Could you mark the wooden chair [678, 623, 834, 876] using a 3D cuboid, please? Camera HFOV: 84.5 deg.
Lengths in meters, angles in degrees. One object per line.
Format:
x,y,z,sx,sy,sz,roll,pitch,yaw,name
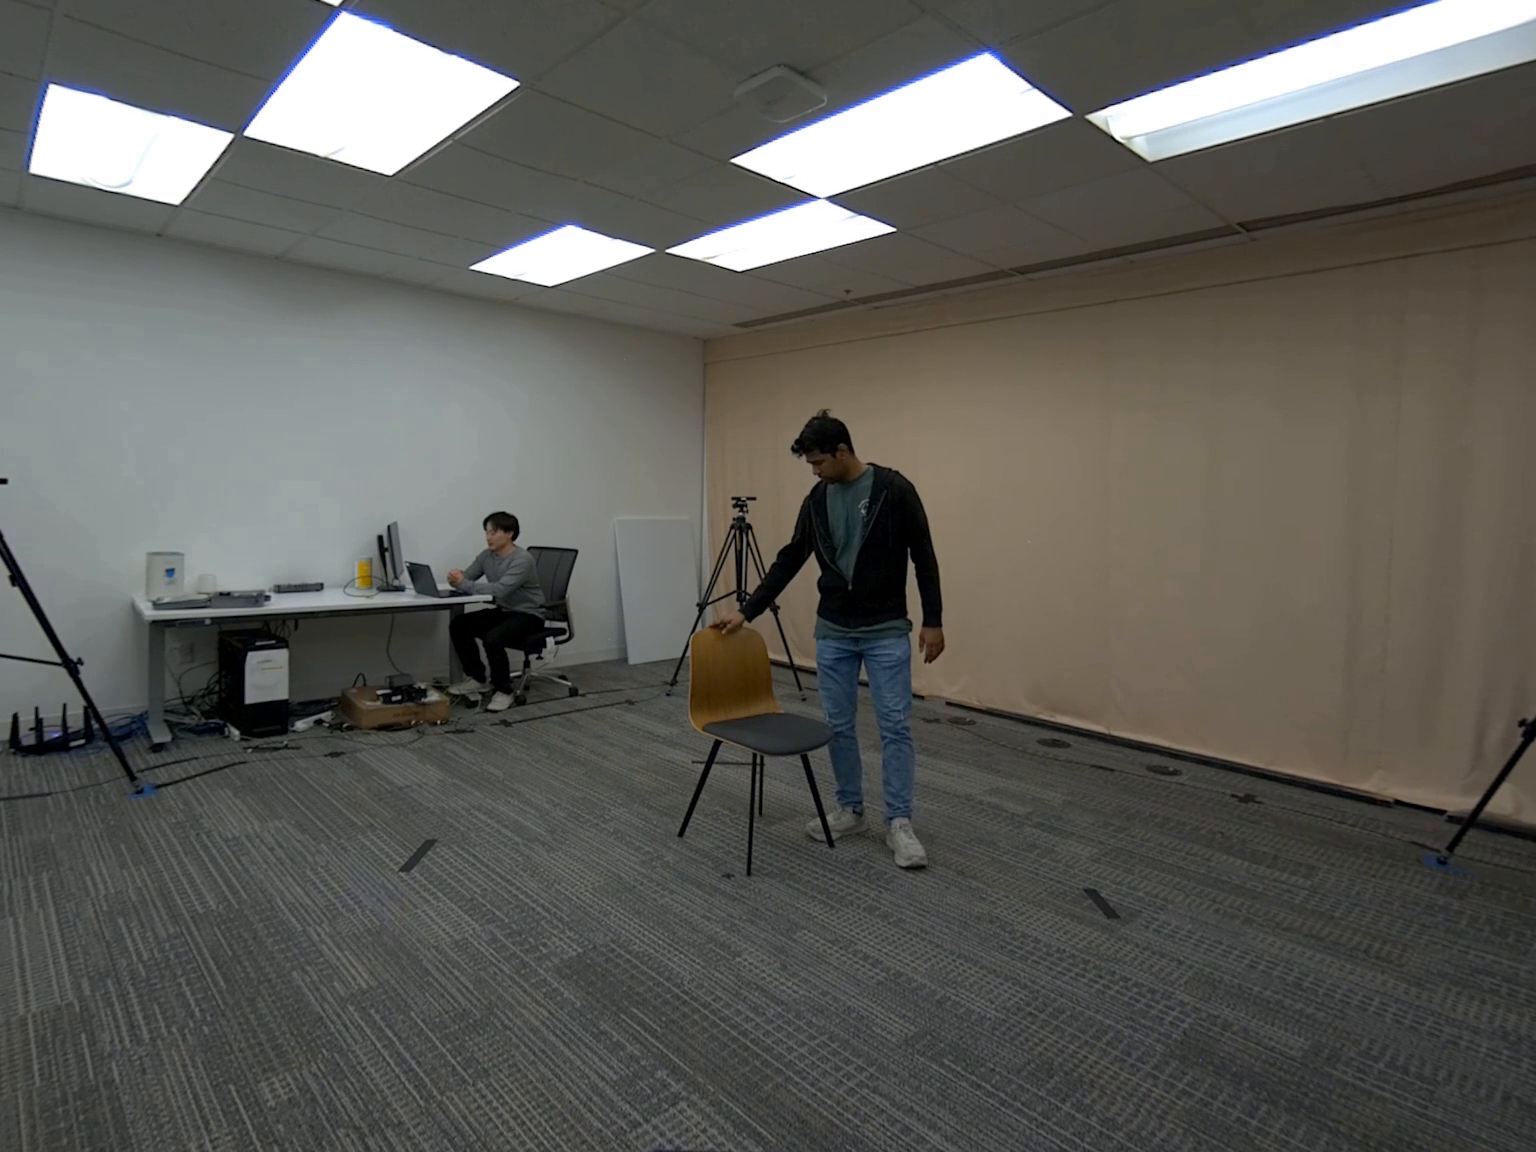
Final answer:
-0.047,0.657,3.375,0.467,0.878,0.535,-1,0,-40,wooden chair
